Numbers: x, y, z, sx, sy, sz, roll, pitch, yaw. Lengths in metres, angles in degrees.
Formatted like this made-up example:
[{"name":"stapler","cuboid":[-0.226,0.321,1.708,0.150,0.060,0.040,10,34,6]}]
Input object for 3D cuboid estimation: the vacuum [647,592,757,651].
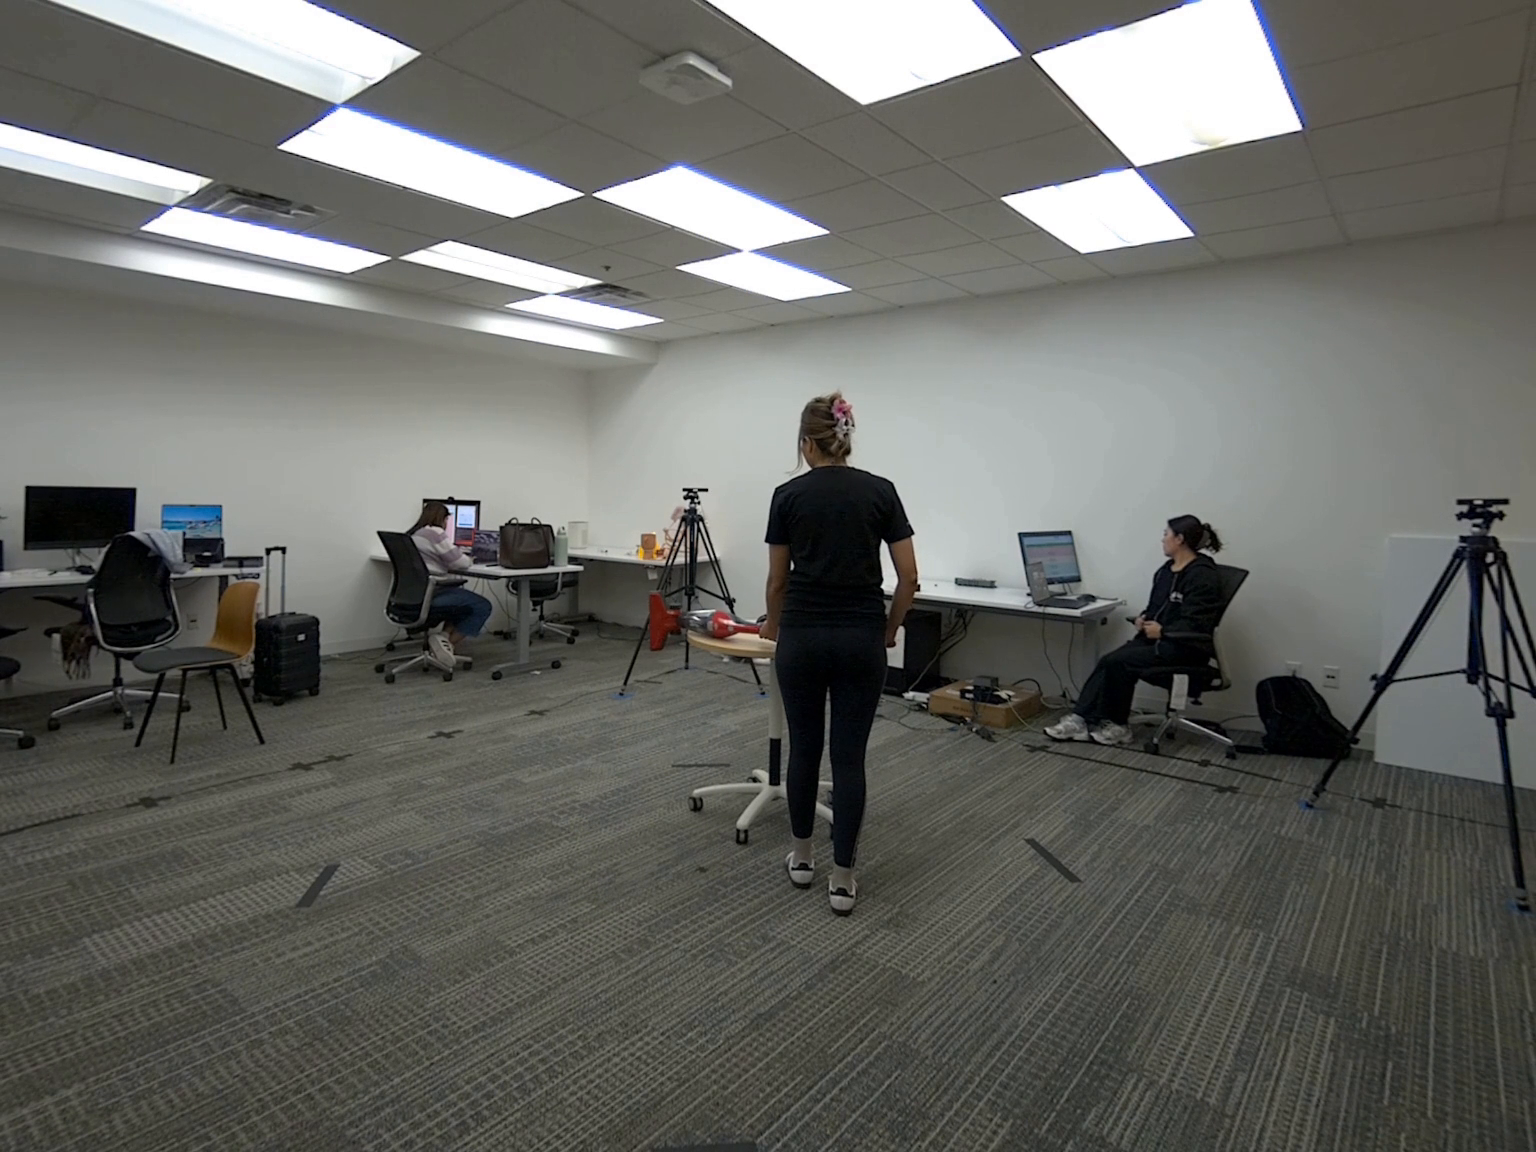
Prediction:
[{"name":"vacuum","cuboid":[-0.026,0.223,3.332,1.083,0.252,0.140,5,2,34]}]
